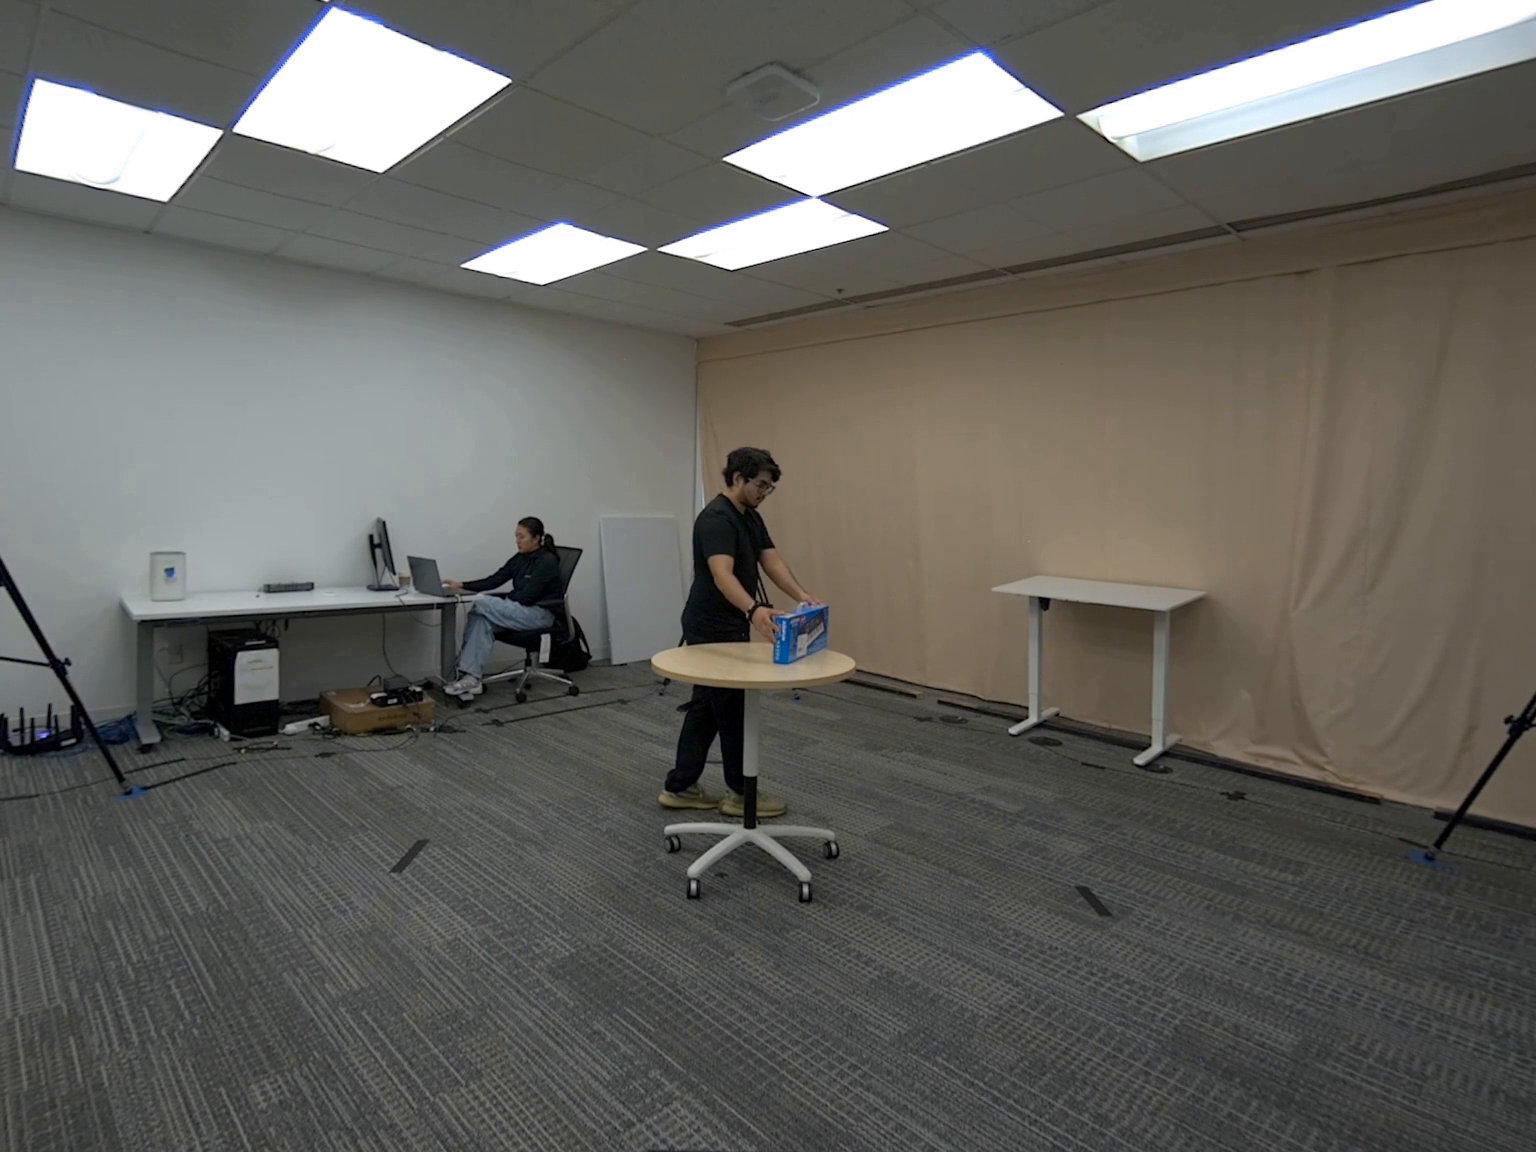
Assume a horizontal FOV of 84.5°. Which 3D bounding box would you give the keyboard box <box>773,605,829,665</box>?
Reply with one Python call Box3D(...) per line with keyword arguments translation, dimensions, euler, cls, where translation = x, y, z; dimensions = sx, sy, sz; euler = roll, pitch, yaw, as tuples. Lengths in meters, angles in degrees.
Box3D(translation=(0.127, 0.225, 3.282), dimensions=(0.060, 0.175, 0.430), euler=(3, 6, 23), cls="keyboard box")
